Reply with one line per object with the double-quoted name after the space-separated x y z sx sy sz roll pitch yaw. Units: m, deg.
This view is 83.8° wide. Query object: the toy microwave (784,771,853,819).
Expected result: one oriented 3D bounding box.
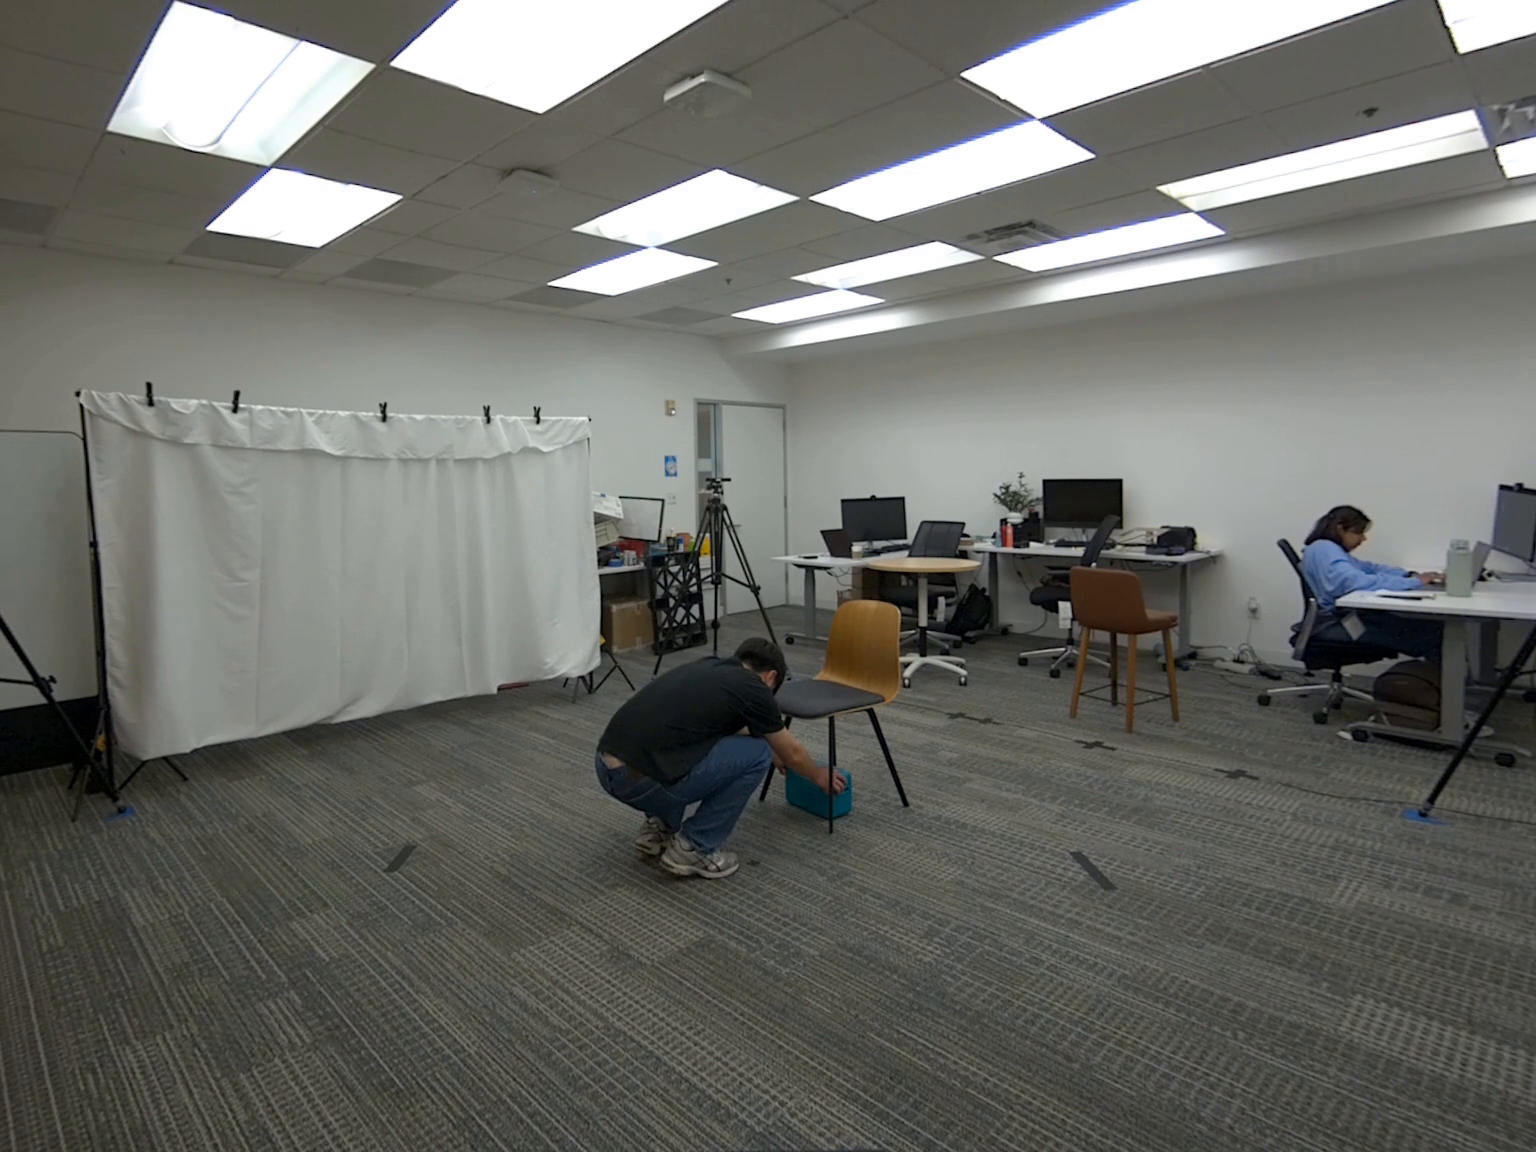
0.220 0.894 3.607 0.148 0.183 0.295 -4 5 -39 "toy microwave"
